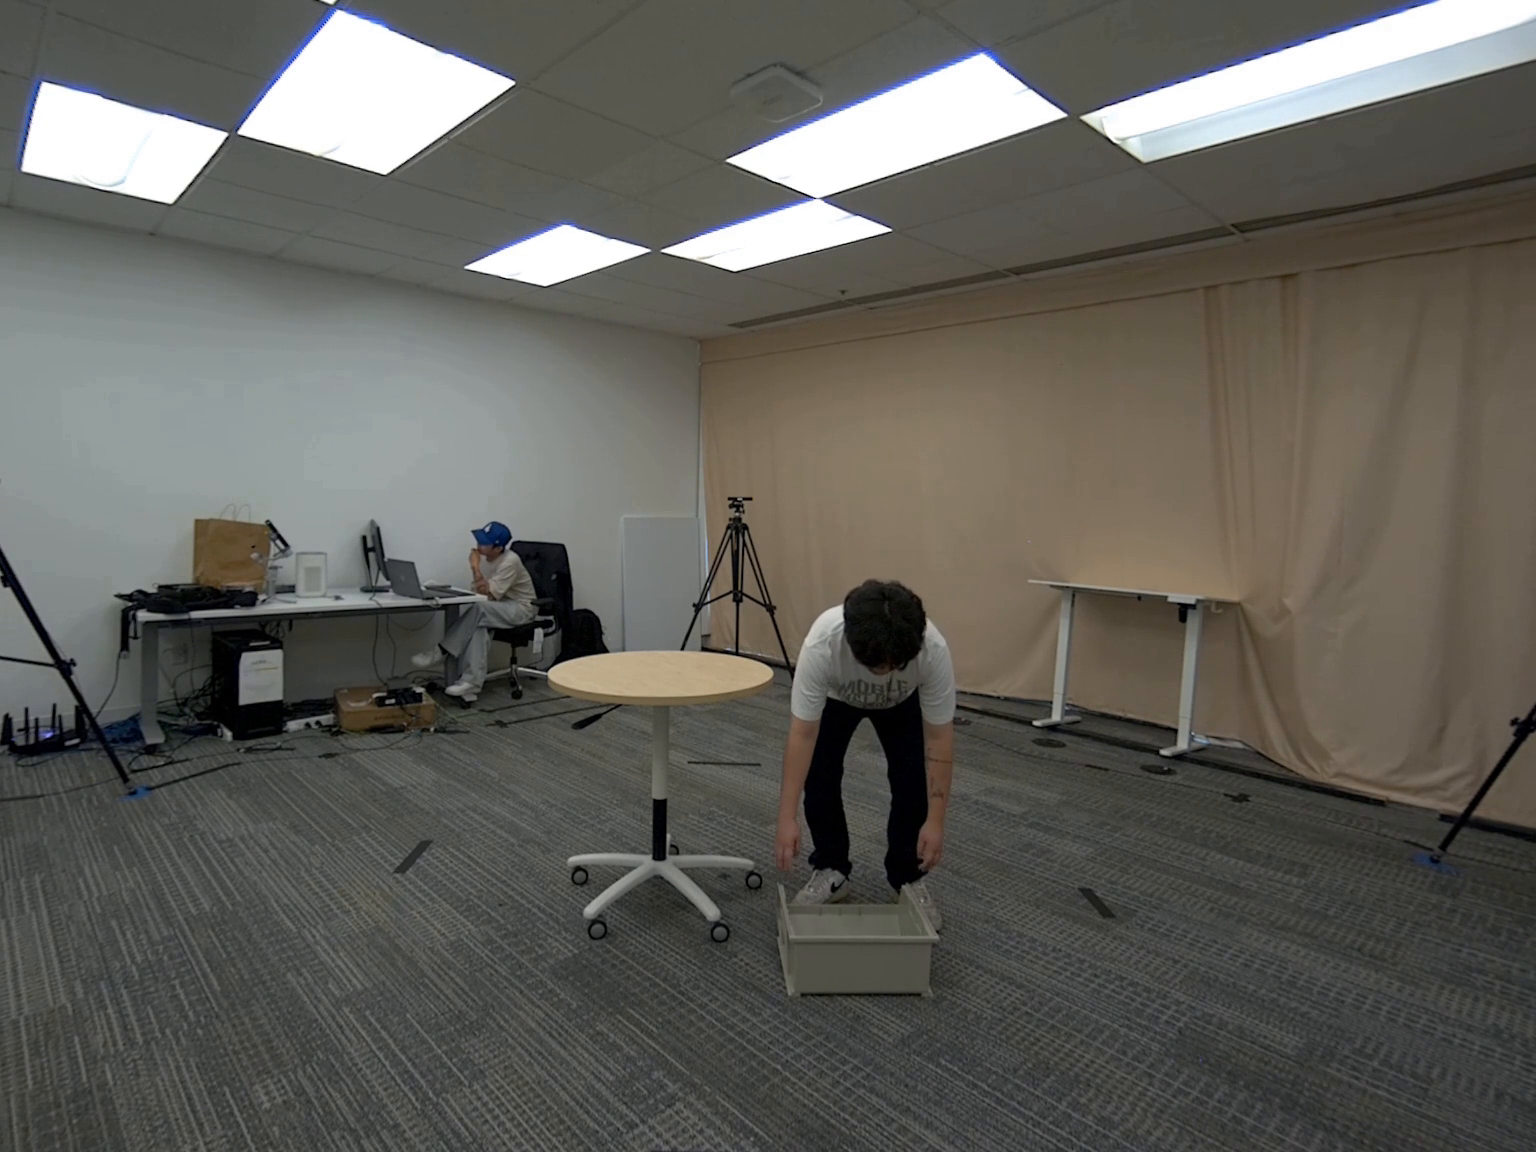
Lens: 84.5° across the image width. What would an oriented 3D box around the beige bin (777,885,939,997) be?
[{"bbox_3d":[0.243,1.078,2.536,0.421,0.188,0.380,2,5,-4],"label":"beige bin"}]
